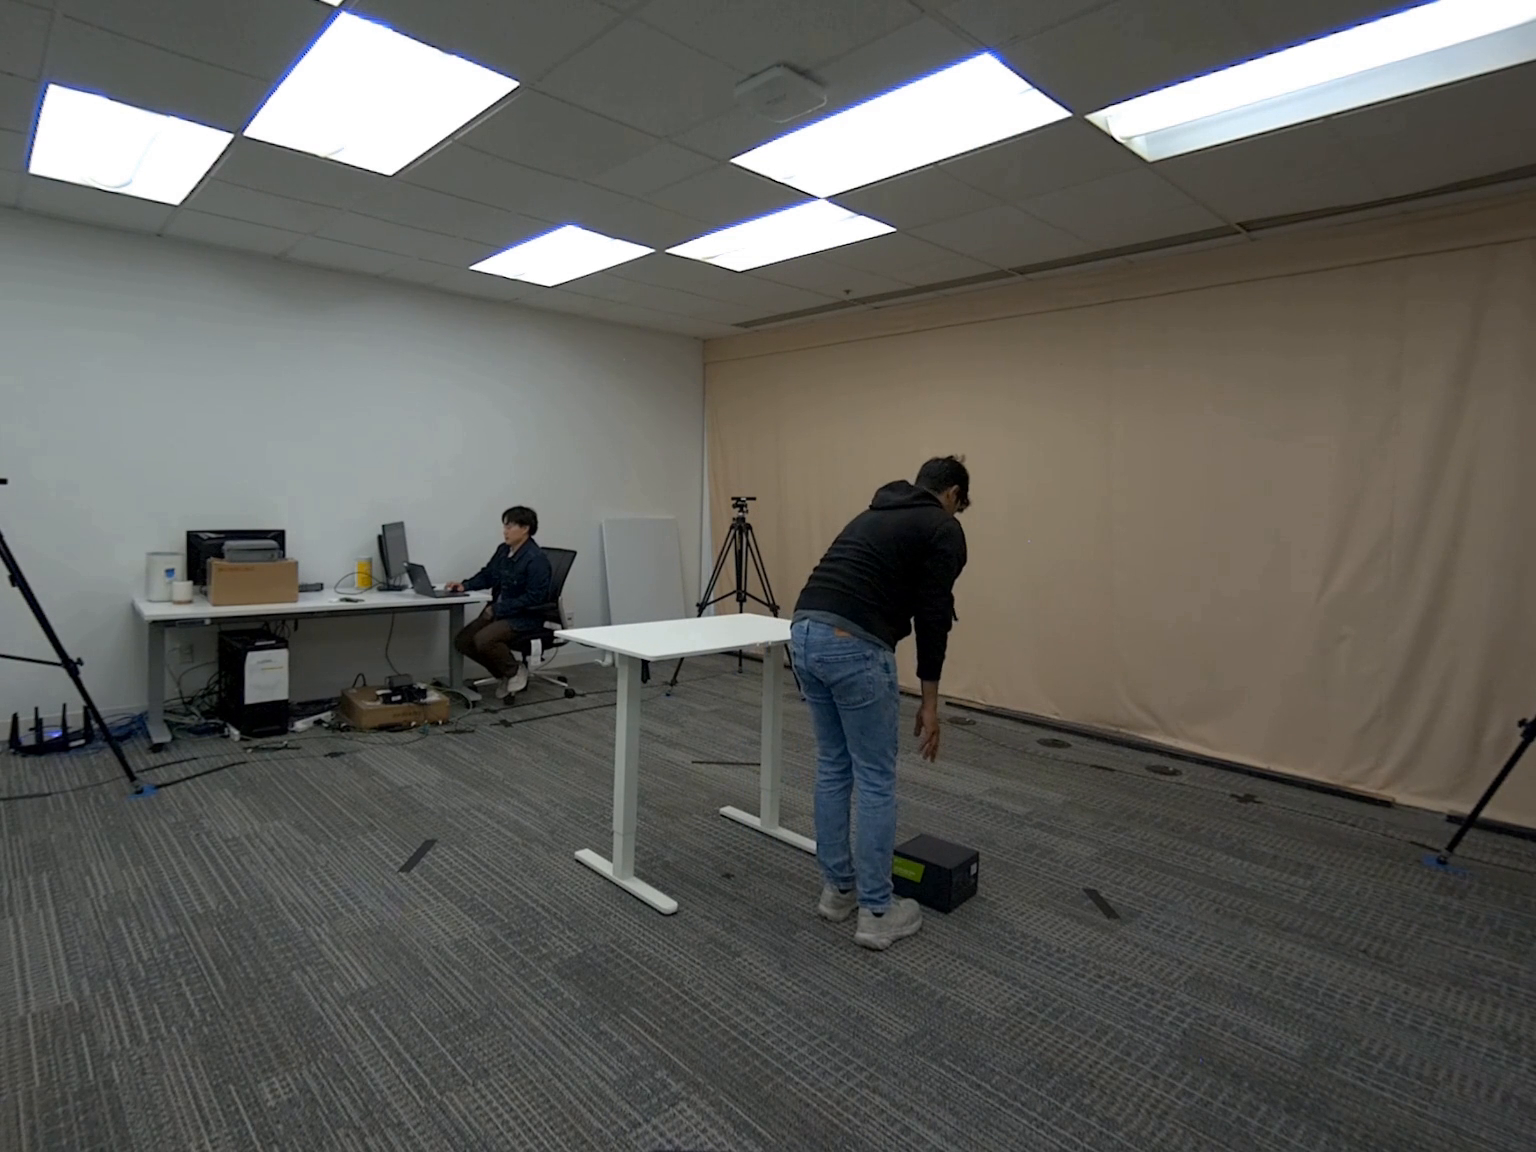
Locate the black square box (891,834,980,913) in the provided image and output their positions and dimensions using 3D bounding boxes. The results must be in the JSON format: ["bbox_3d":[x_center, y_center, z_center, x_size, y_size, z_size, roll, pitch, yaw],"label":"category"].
[{"bbox_3d":[0.588,1.052,3.004,0.234,0.155,0.212,6,6,40],"label":"black square box"}]
